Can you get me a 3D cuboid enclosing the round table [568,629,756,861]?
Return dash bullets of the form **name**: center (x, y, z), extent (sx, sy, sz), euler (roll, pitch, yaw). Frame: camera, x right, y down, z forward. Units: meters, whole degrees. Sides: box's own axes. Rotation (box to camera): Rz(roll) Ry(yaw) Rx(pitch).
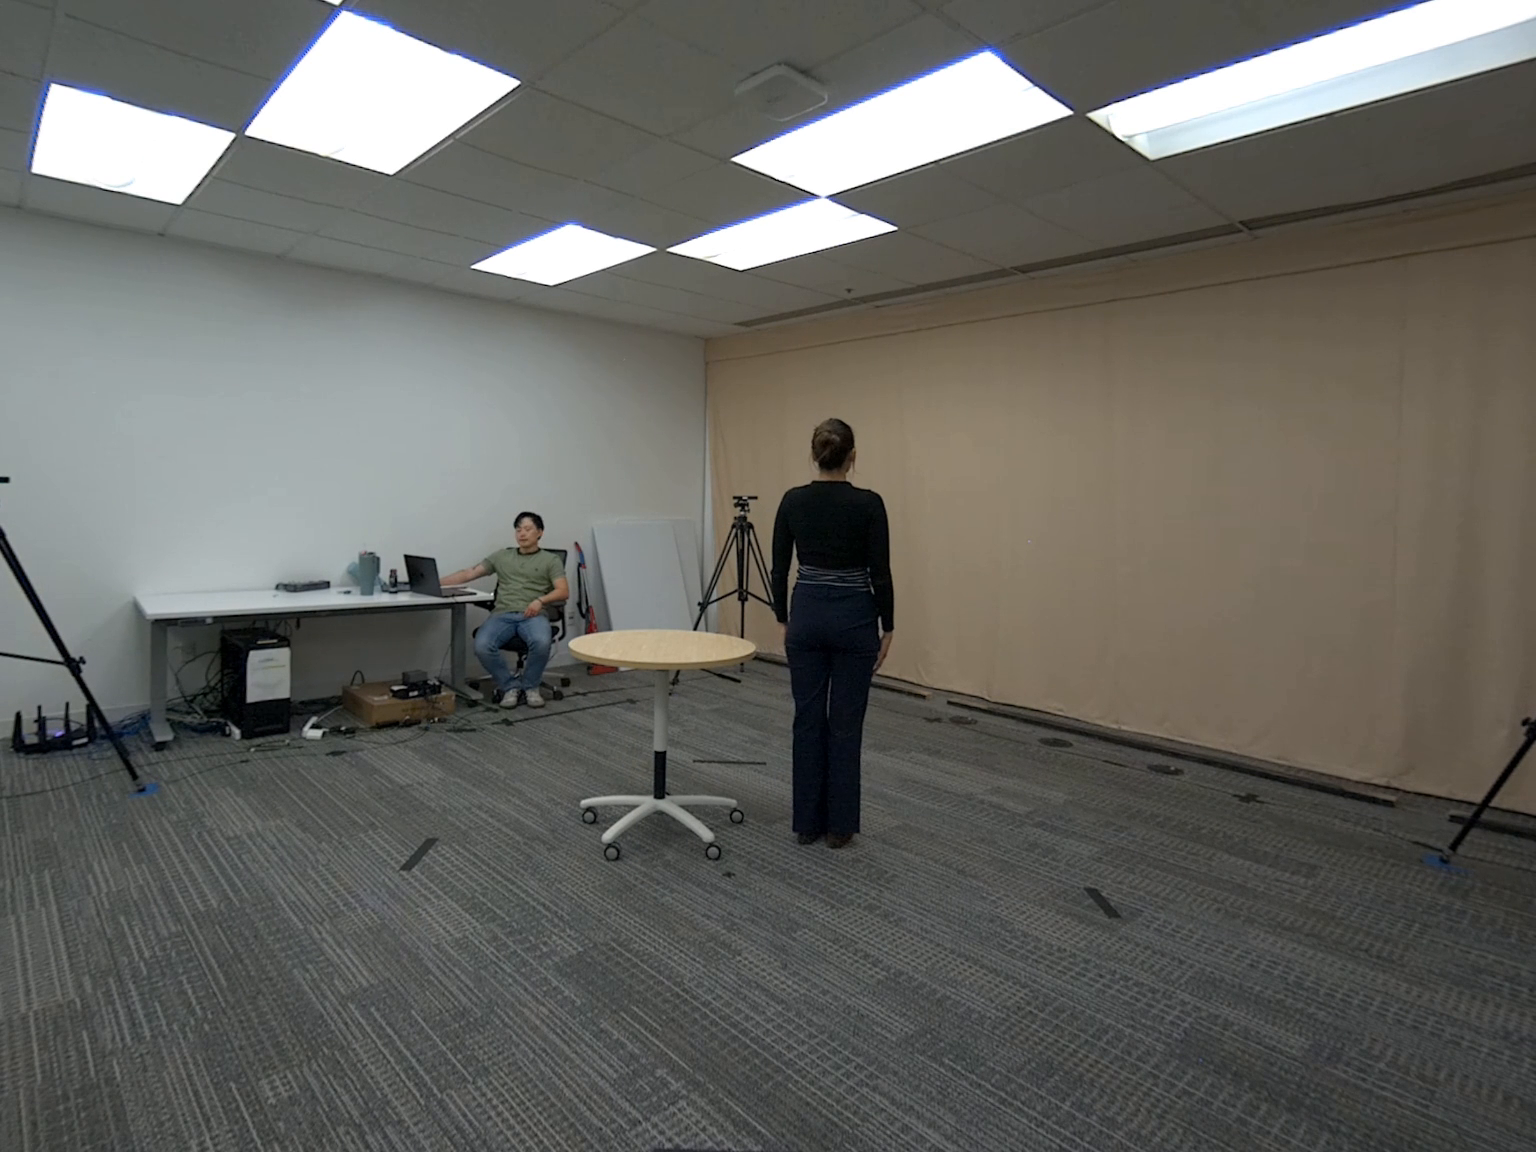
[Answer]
- **round table**: center (-0.448, 0.675, 3.480), extent (0.763, 0.792, 0.766), euler (1, 4, -1)
